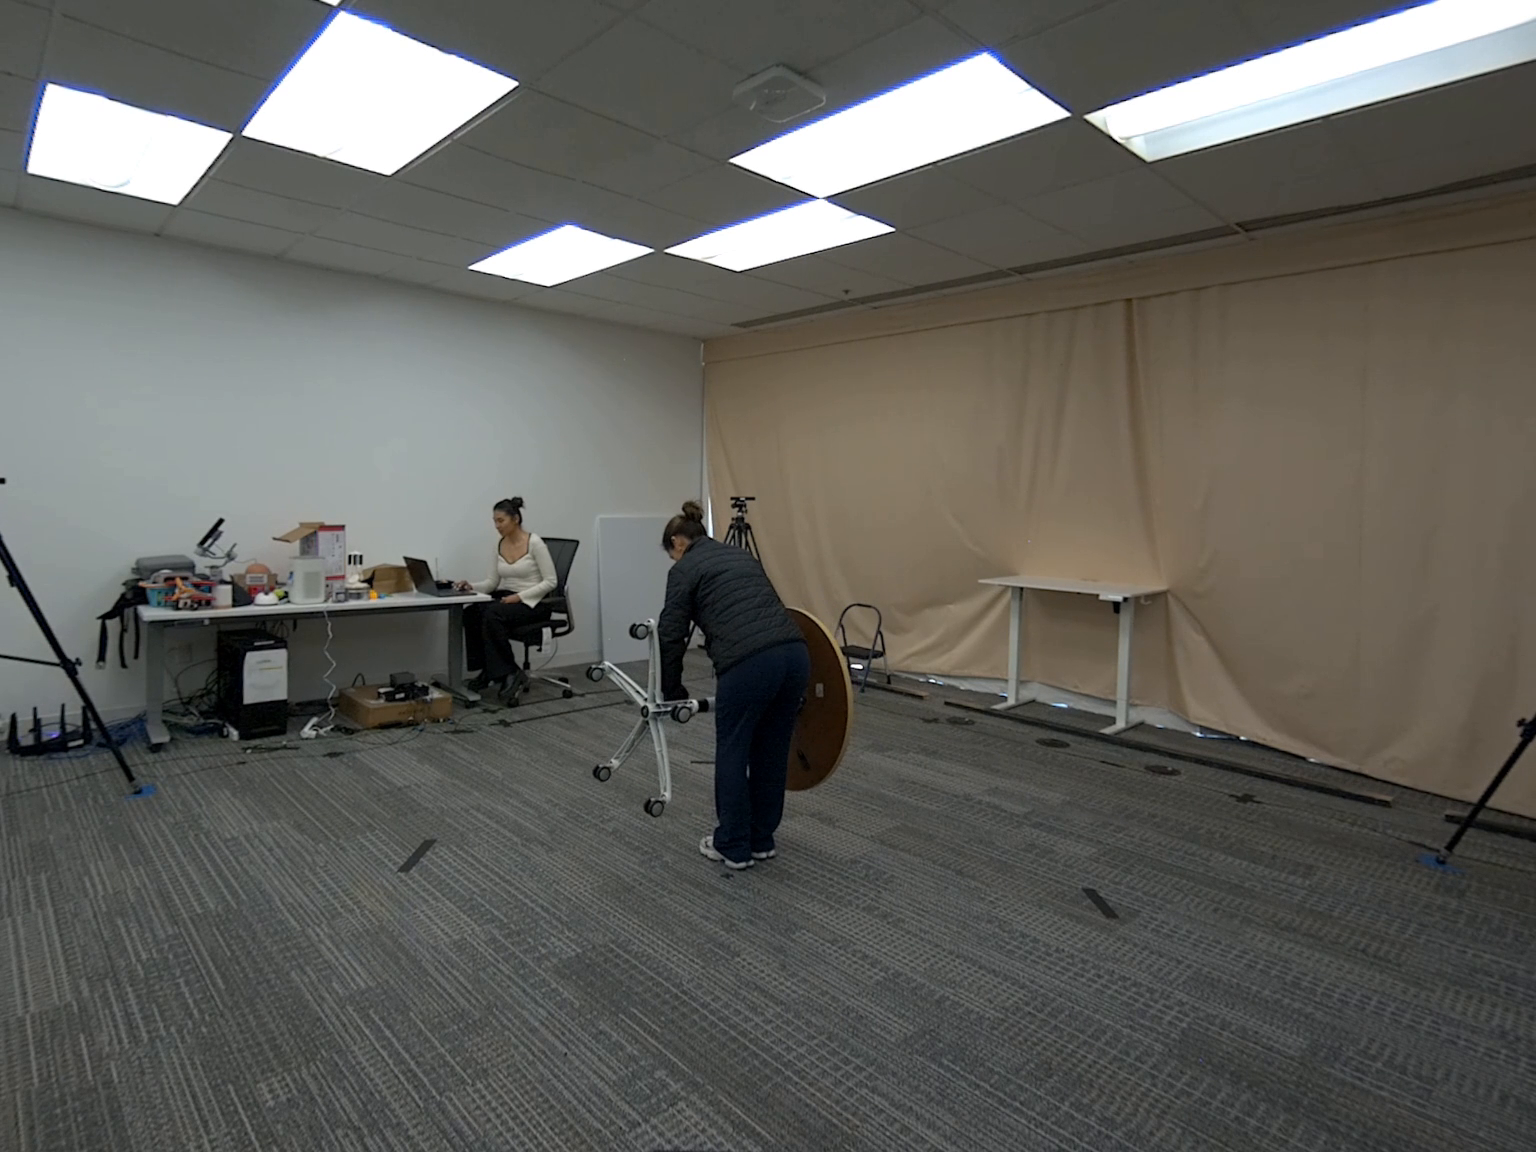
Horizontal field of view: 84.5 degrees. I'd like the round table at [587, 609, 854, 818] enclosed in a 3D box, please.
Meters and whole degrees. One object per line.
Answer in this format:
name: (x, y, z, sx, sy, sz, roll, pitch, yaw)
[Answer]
round table: (-0.213, 0.527, 3.320, 0.768, 0.784, 0.805, 0, 4, -39)
